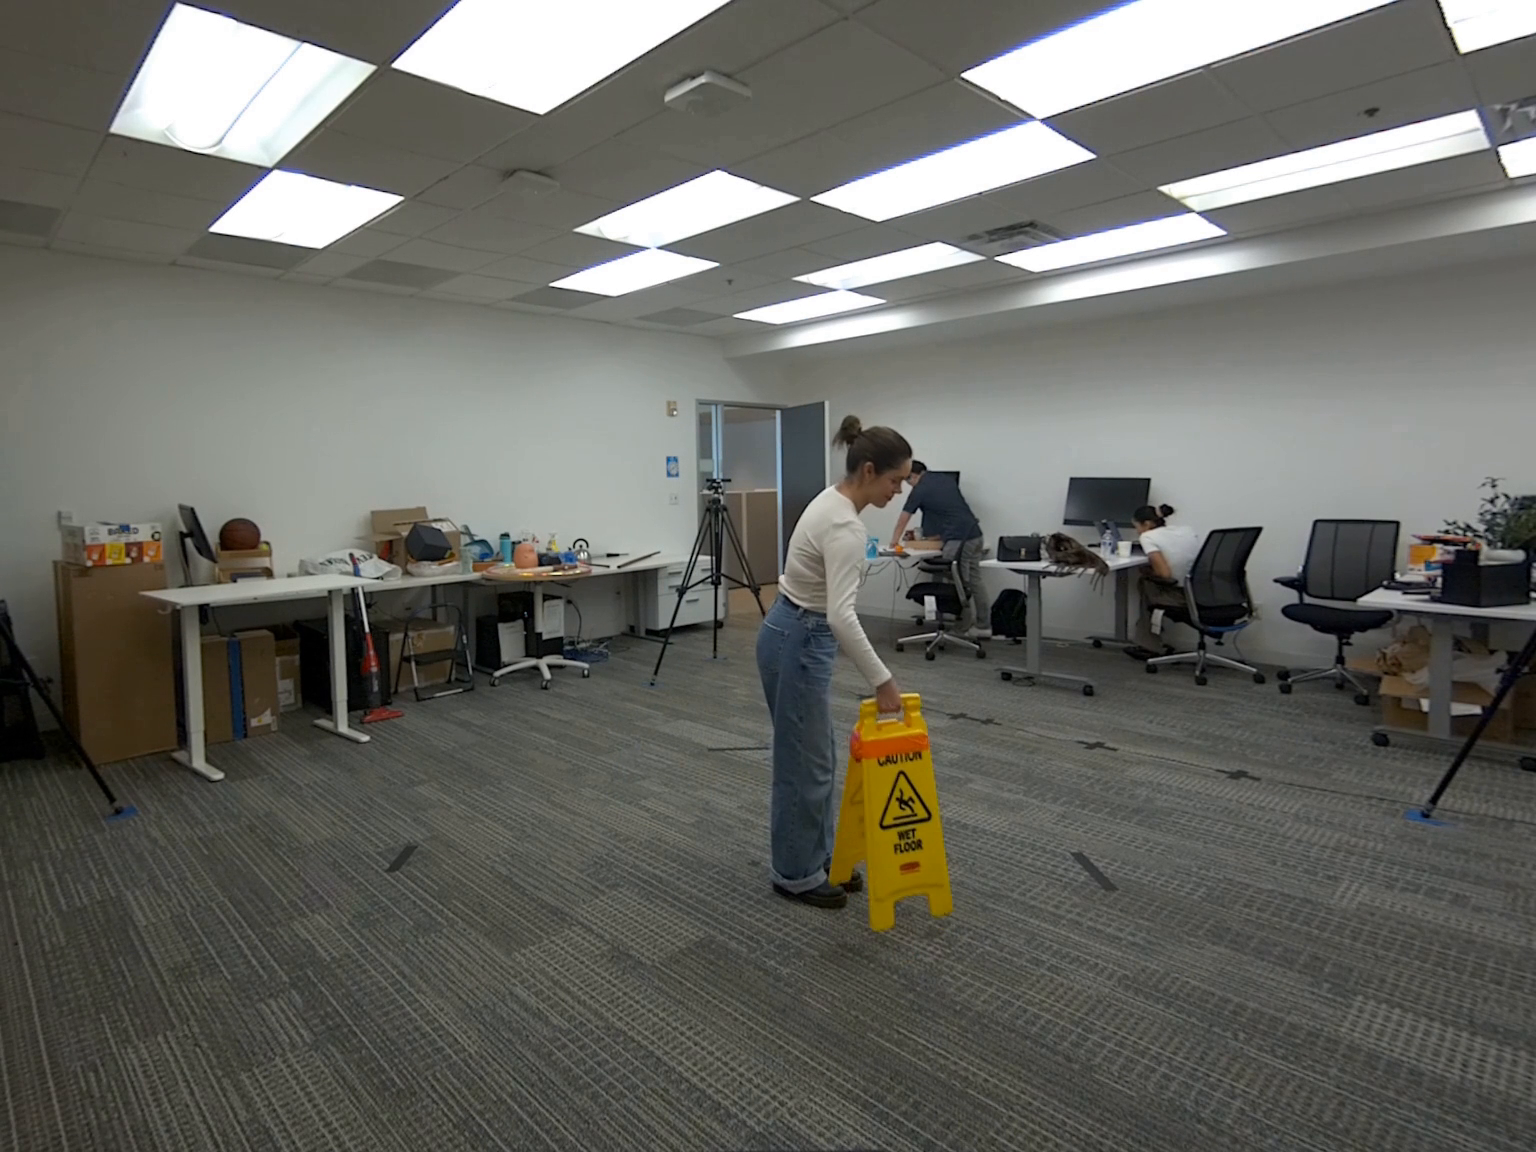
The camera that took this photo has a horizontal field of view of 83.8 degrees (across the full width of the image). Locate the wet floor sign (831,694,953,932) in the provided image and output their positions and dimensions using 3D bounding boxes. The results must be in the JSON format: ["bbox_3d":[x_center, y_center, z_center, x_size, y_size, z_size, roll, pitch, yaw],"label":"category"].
[{"bbox_3d":[0.374,0.672,2.601,0.277,0.641,0.297,-4,9,-21],"label":"wet floor sign"}]
